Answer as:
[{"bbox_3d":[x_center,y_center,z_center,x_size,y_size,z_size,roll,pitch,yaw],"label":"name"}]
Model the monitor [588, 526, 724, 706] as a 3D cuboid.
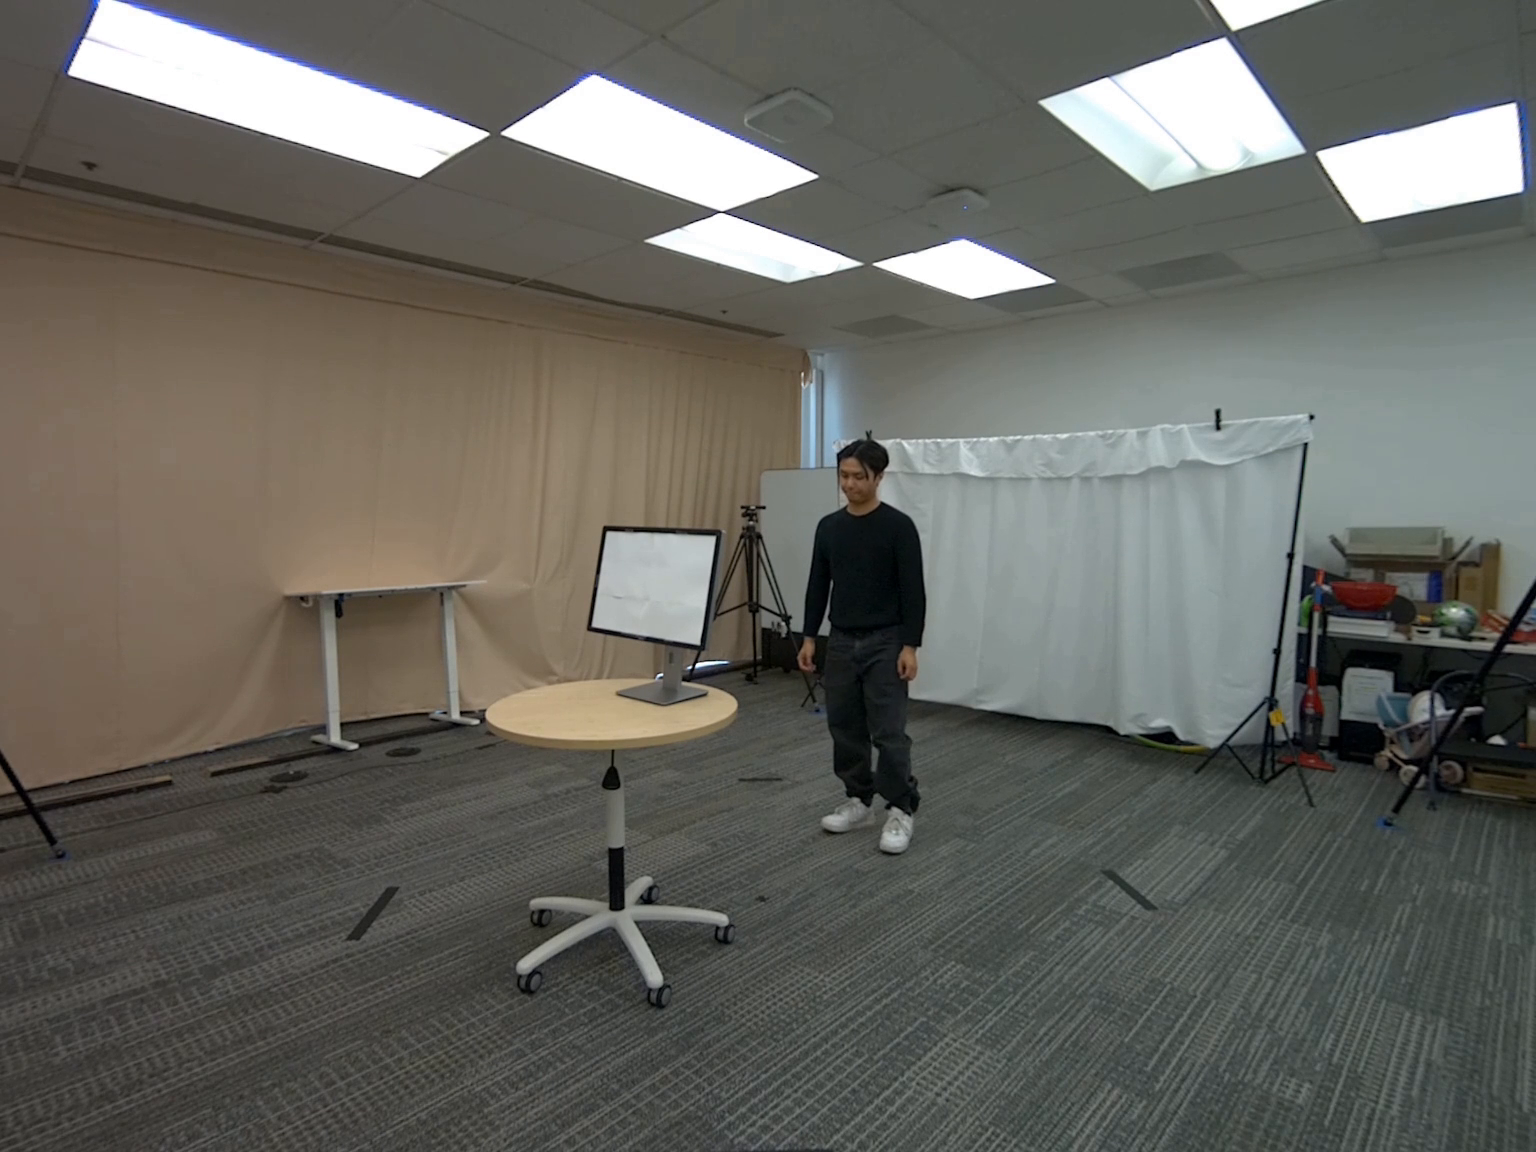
[{"bbox_3d":[-0.340,0.121,2.708,0.557,0.521,0.181,3,5,40],"label":"monitor"}]
